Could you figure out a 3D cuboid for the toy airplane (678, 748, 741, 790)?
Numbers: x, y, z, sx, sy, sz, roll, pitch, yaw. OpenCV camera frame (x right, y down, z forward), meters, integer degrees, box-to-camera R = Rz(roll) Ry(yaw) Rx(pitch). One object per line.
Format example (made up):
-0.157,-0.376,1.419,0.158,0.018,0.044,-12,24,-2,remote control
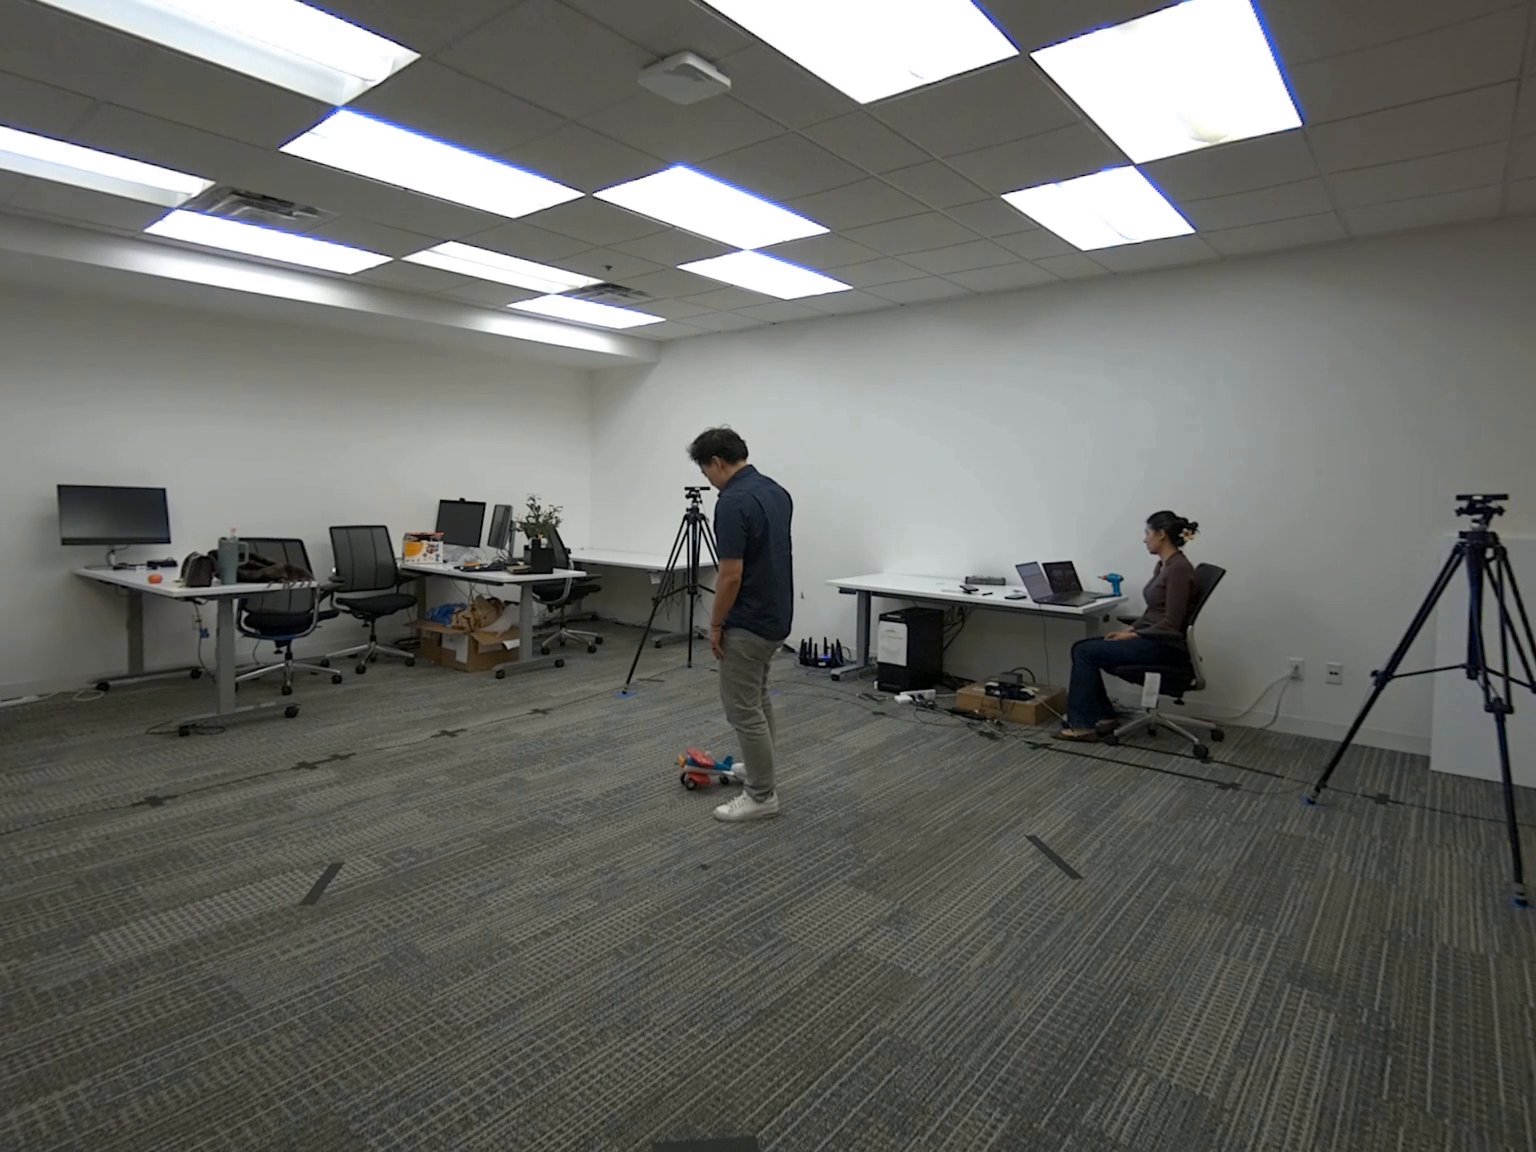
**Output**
-0.312,0.904,4.009,0.259,0.156,0.252,4,7,43,toy airplane
